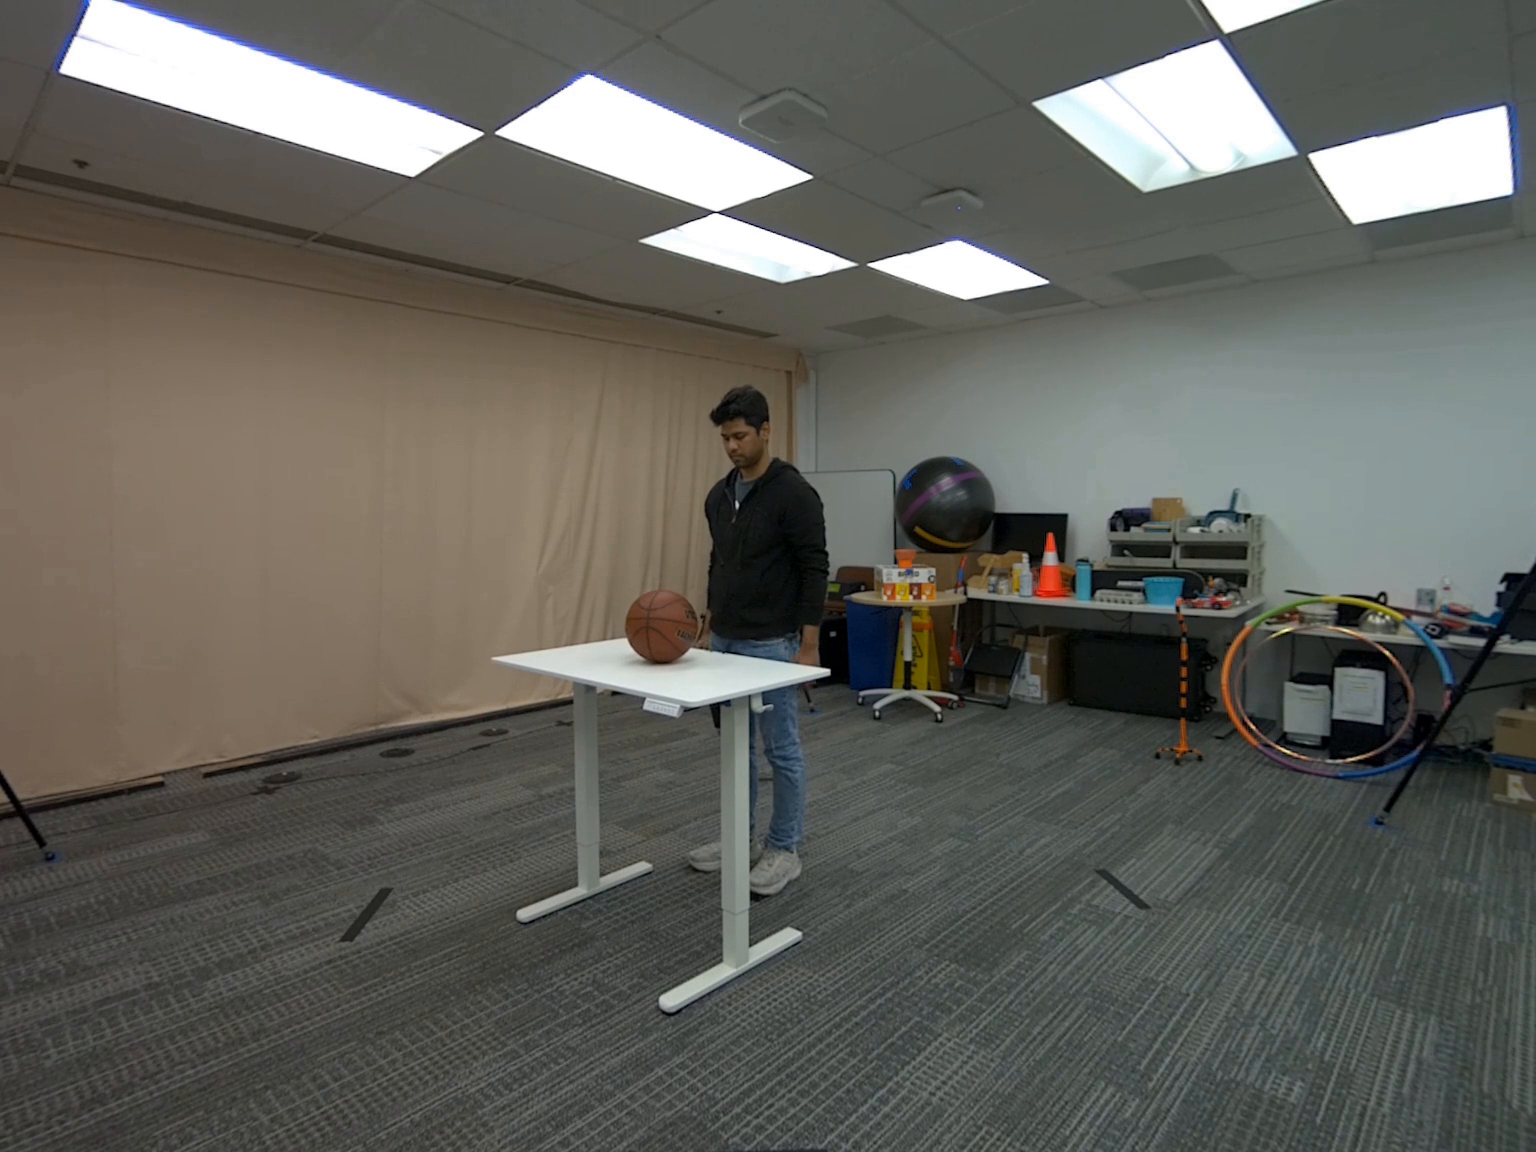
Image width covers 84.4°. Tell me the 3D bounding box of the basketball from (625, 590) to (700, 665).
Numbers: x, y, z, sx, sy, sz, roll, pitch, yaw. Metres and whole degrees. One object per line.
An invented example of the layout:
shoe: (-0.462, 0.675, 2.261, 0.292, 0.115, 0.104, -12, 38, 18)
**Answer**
basketball: (-0.353, 0.168, 2.757, 0.236, 0.235, 0.237, 0, 4, -2)
